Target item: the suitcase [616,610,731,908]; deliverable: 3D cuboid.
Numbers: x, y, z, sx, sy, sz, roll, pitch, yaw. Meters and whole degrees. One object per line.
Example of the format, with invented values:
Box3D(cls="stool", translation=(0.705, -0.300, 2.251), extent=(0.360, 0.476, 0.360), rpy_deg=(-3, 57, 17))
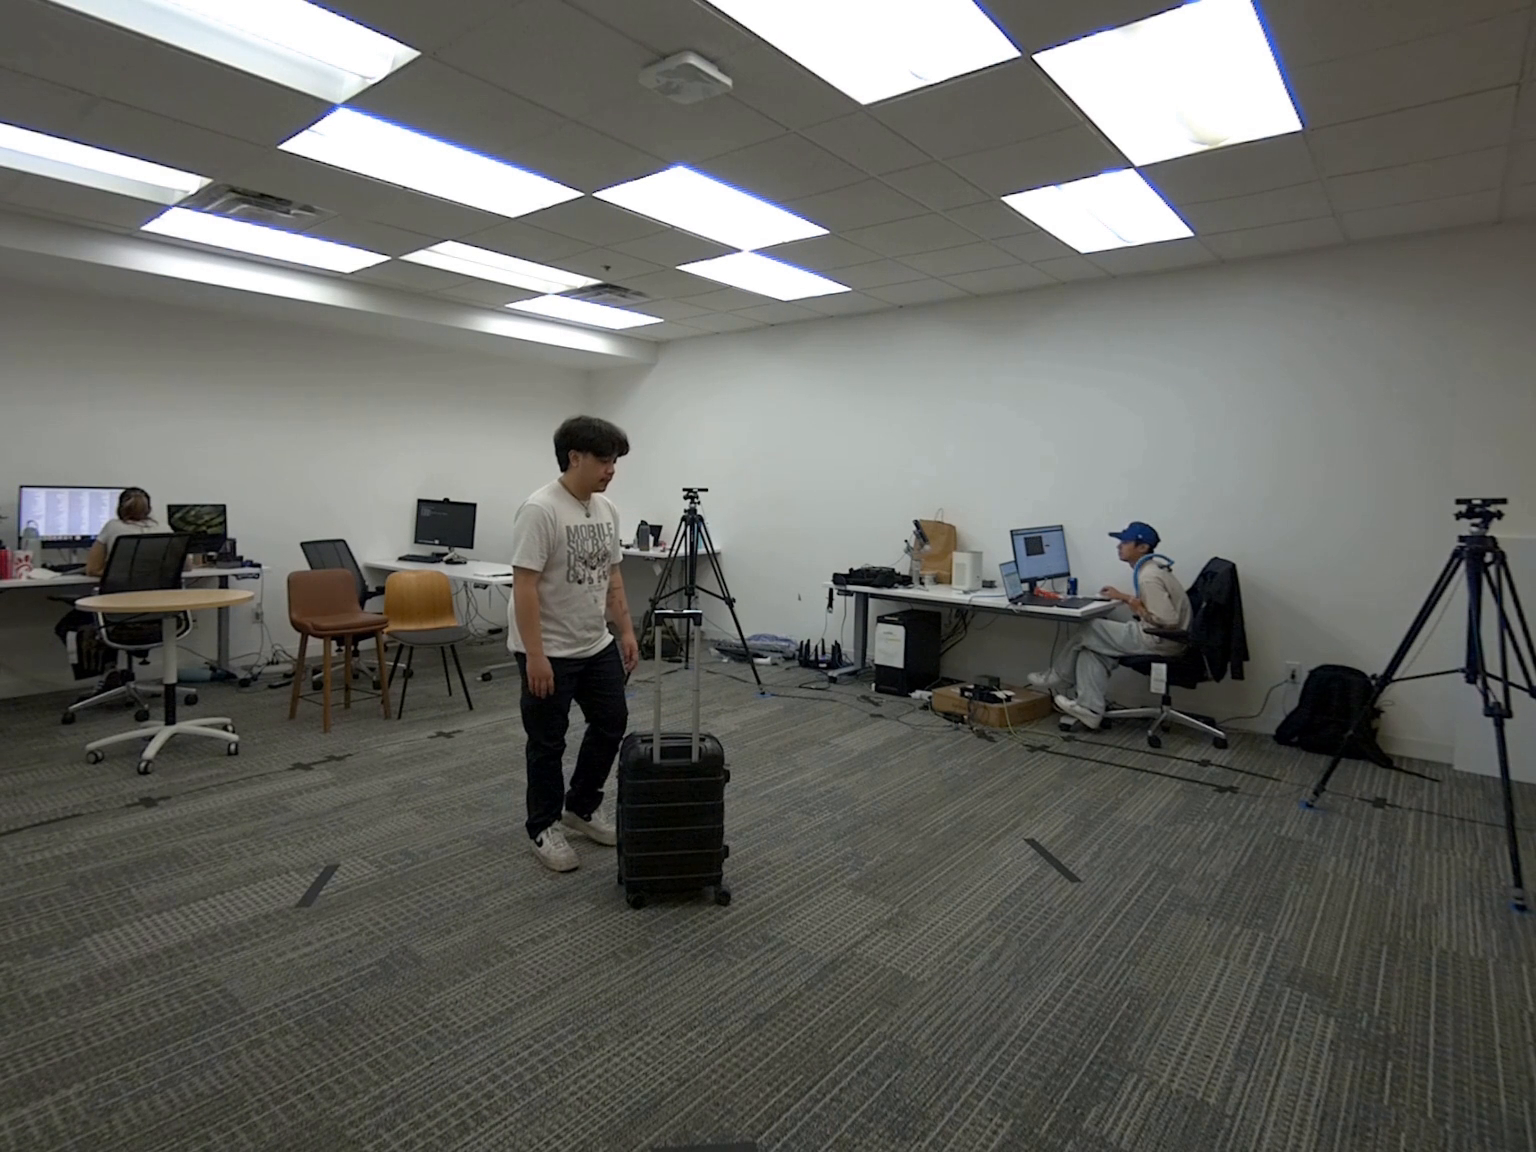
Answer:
Box3D(cls="suitcase", translation=(-0.340, 0.609, 2.921), extent=(0.380, 0.979, 0.260), rpy_deg=(1, 0, -11))
